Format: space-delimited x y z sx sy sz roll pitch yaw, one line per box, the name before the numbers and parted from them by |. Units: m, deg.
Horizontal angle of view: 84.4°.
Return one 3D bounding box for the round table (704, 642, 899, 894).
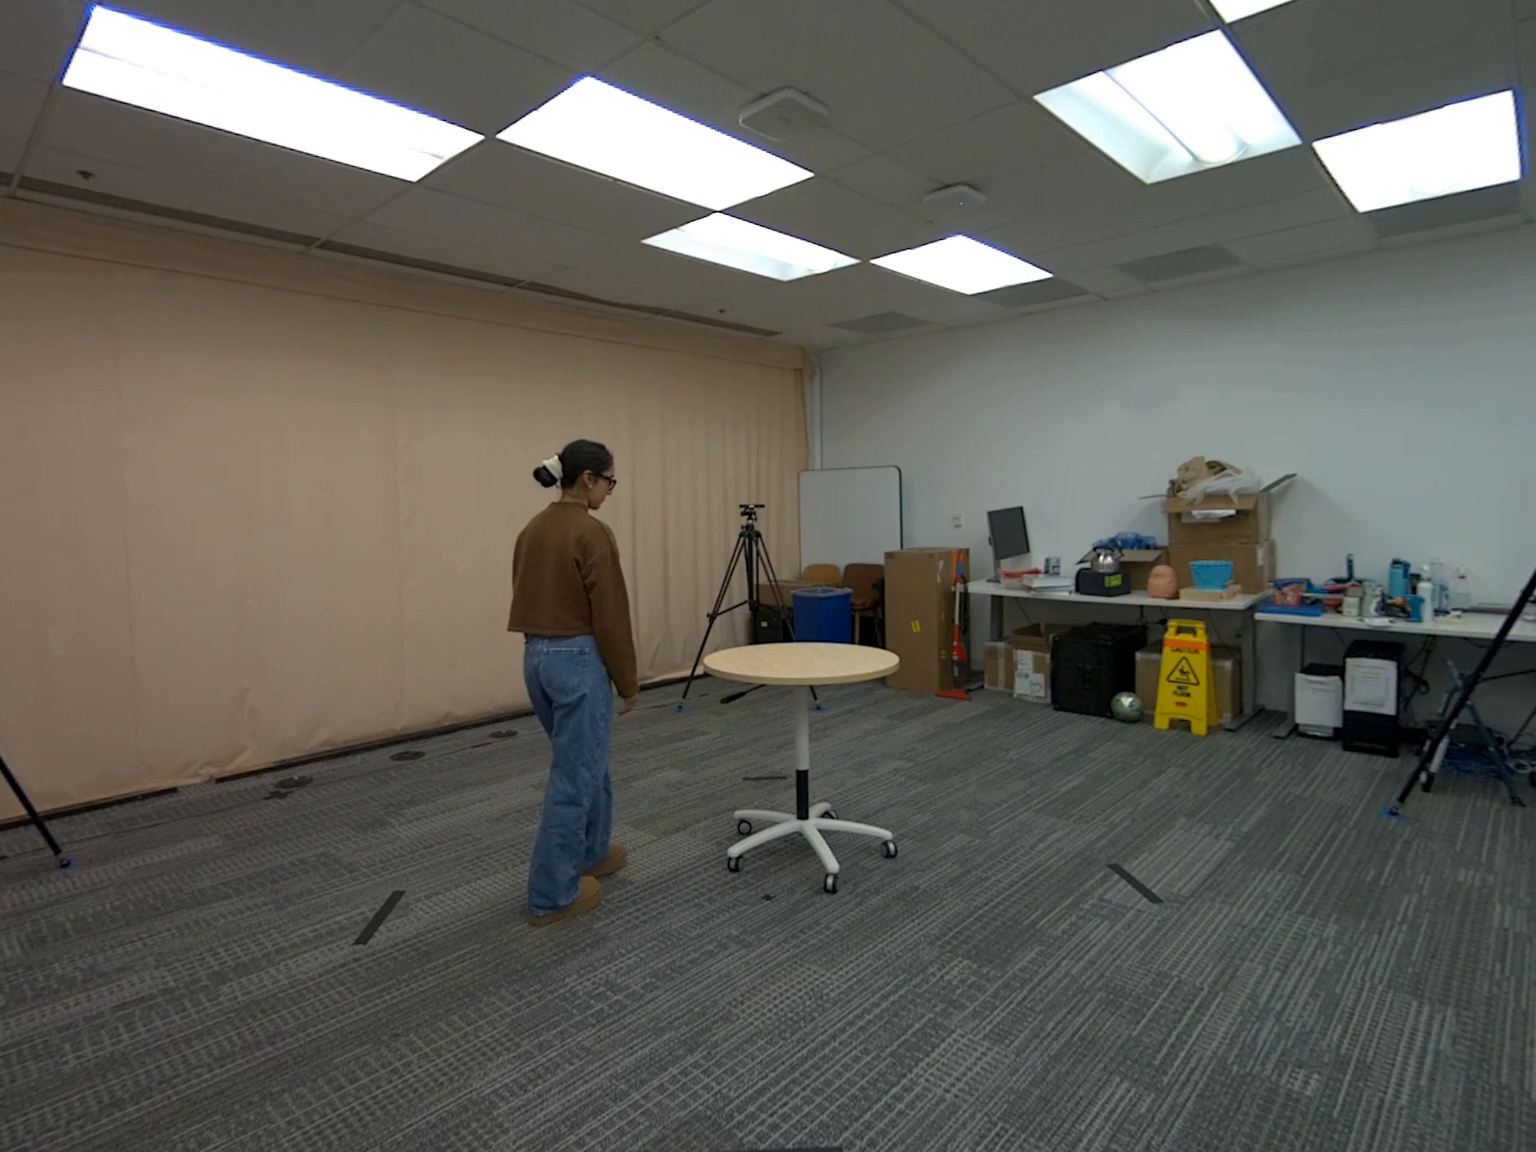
round table | 0.148 0.713 3.348 0.784 0.785 0.788 -1 4 -2
